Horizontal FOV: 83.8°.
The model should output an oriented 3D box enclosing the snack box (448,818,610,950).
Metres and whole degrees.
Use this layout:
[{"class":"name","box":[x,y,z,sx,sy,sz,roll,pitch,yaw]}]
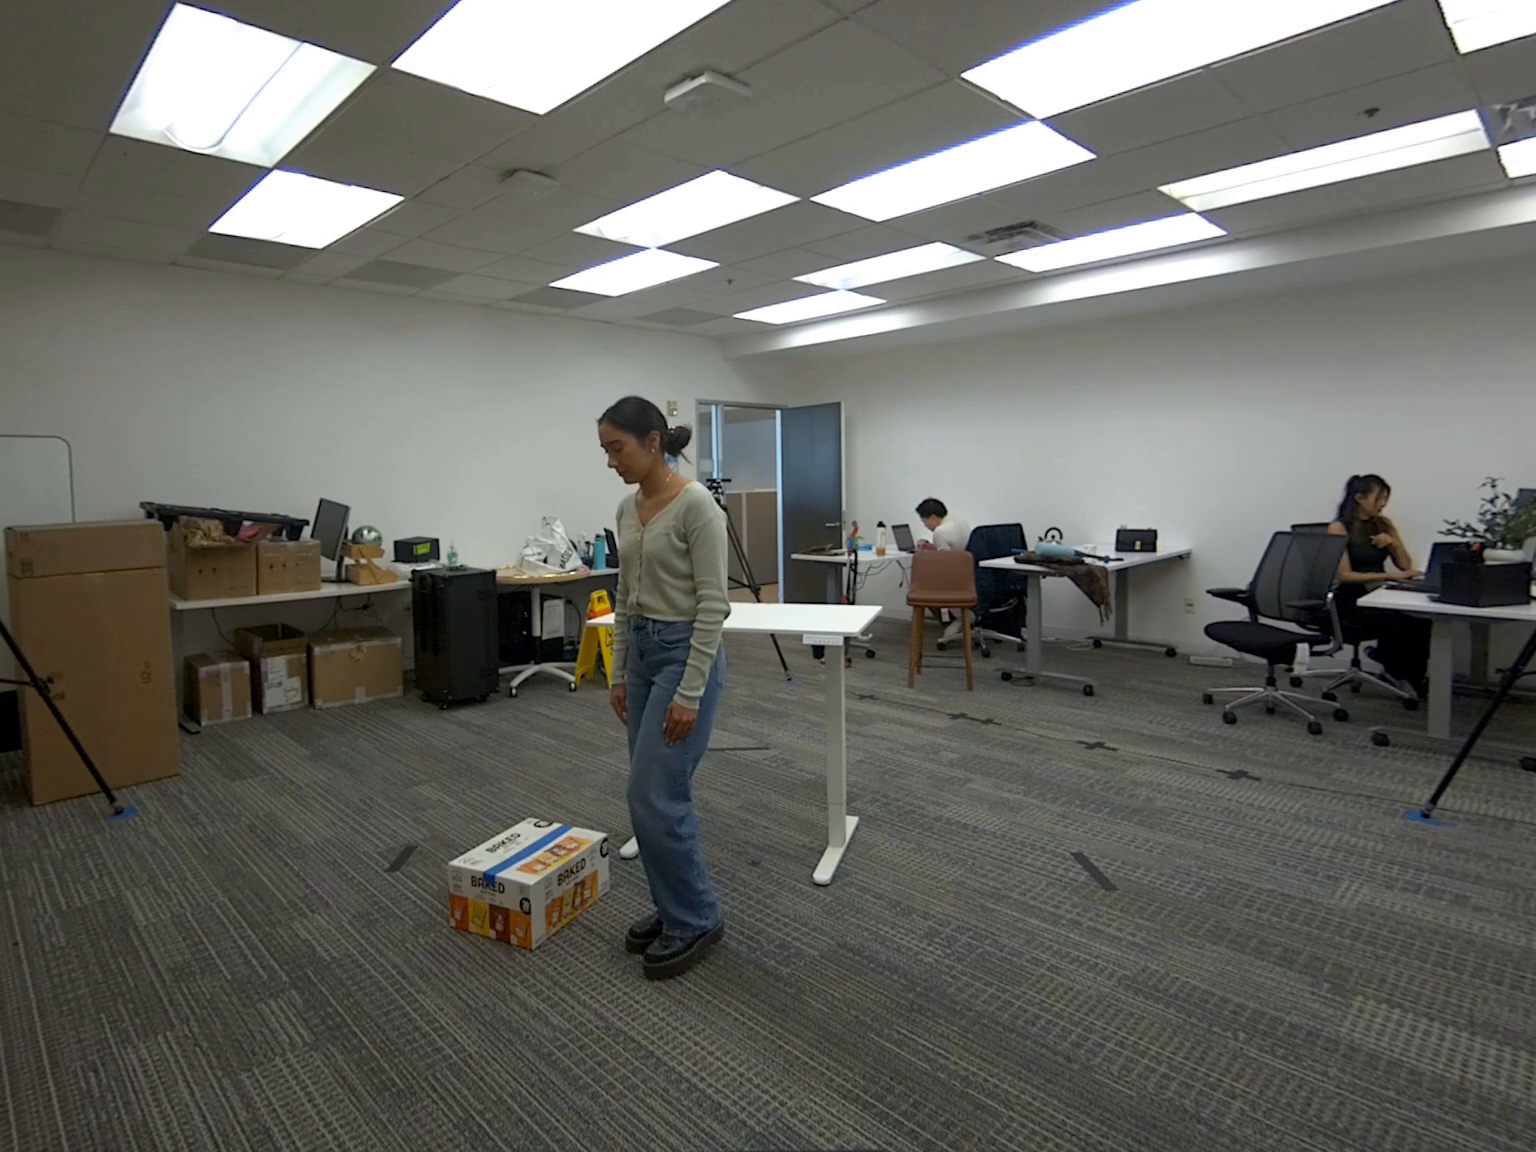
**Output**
[{"class":"snack box","box":[-0.774,0.993,2.801,0.348,0.205,0.398,2,7,25]}]
